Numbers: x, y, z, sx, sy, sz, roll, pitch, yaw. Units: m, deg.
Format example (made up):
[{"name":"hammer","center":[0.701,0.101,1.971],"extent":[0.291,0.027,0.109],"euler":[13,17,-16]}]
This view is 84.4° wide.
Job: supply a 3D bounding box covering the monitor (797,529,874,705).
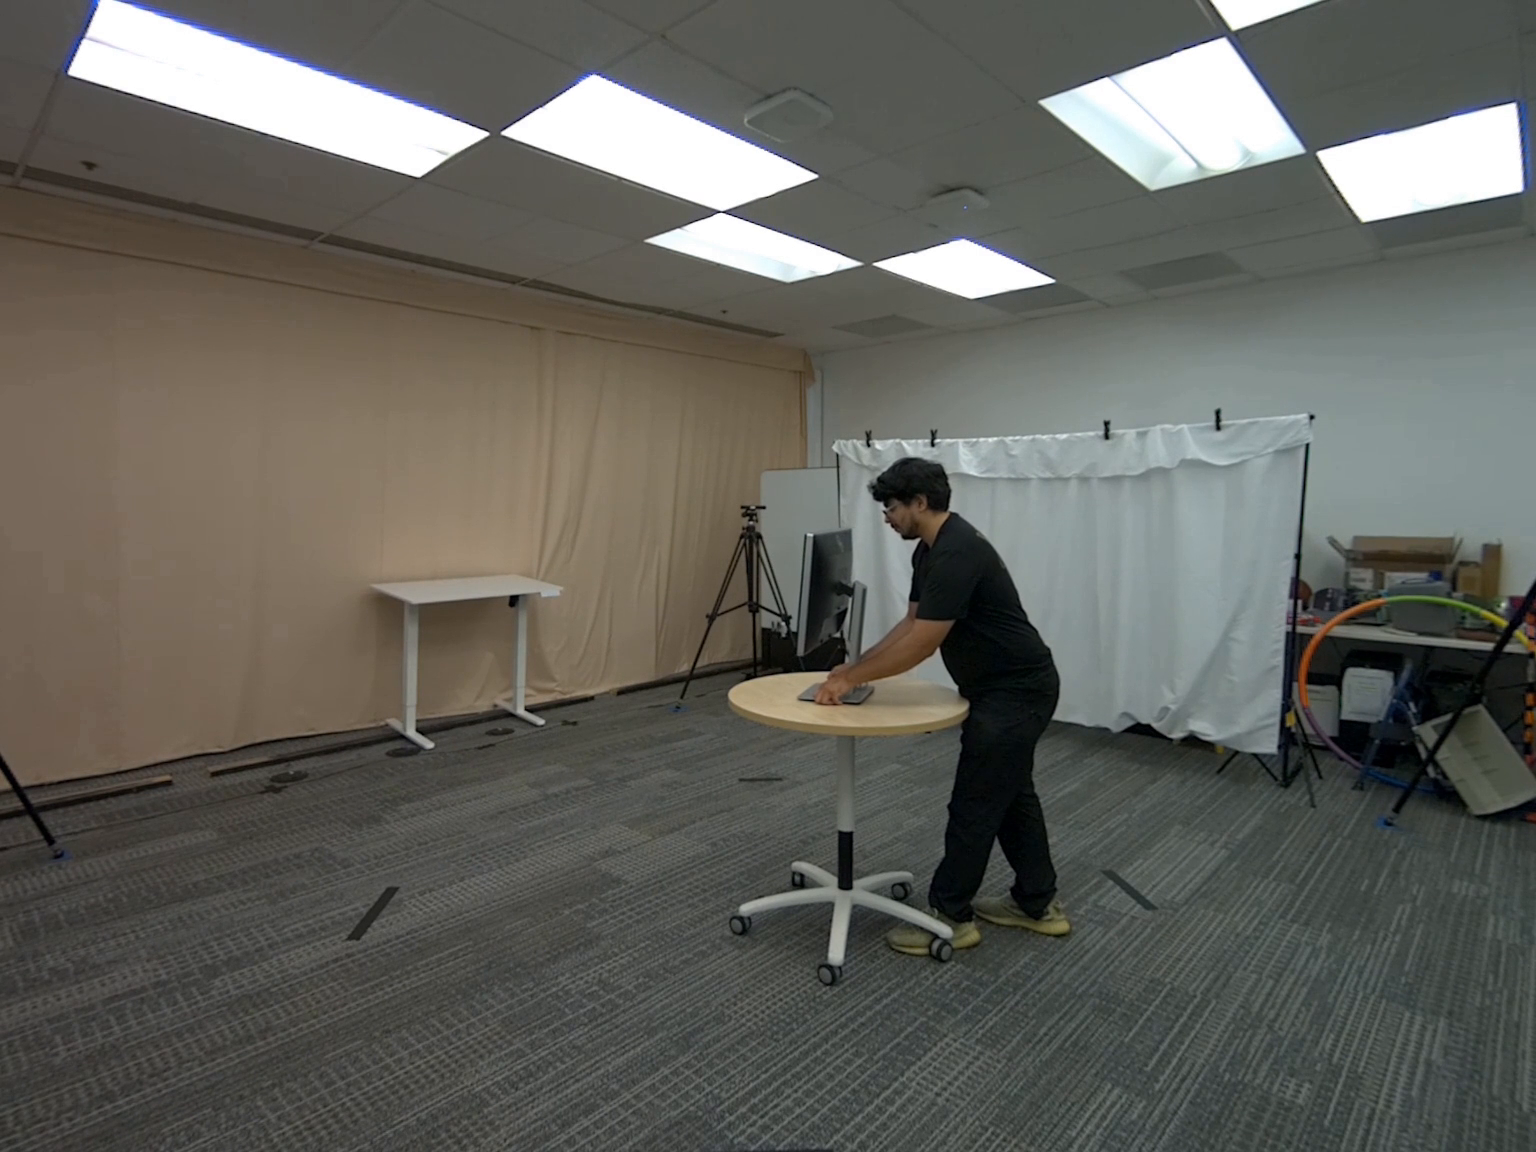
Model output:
[{"name":"monitor","center":[0.256,0.127,2.710],"extent":[0.214,0.552,0.555],"euler":[3,5,18]}]
